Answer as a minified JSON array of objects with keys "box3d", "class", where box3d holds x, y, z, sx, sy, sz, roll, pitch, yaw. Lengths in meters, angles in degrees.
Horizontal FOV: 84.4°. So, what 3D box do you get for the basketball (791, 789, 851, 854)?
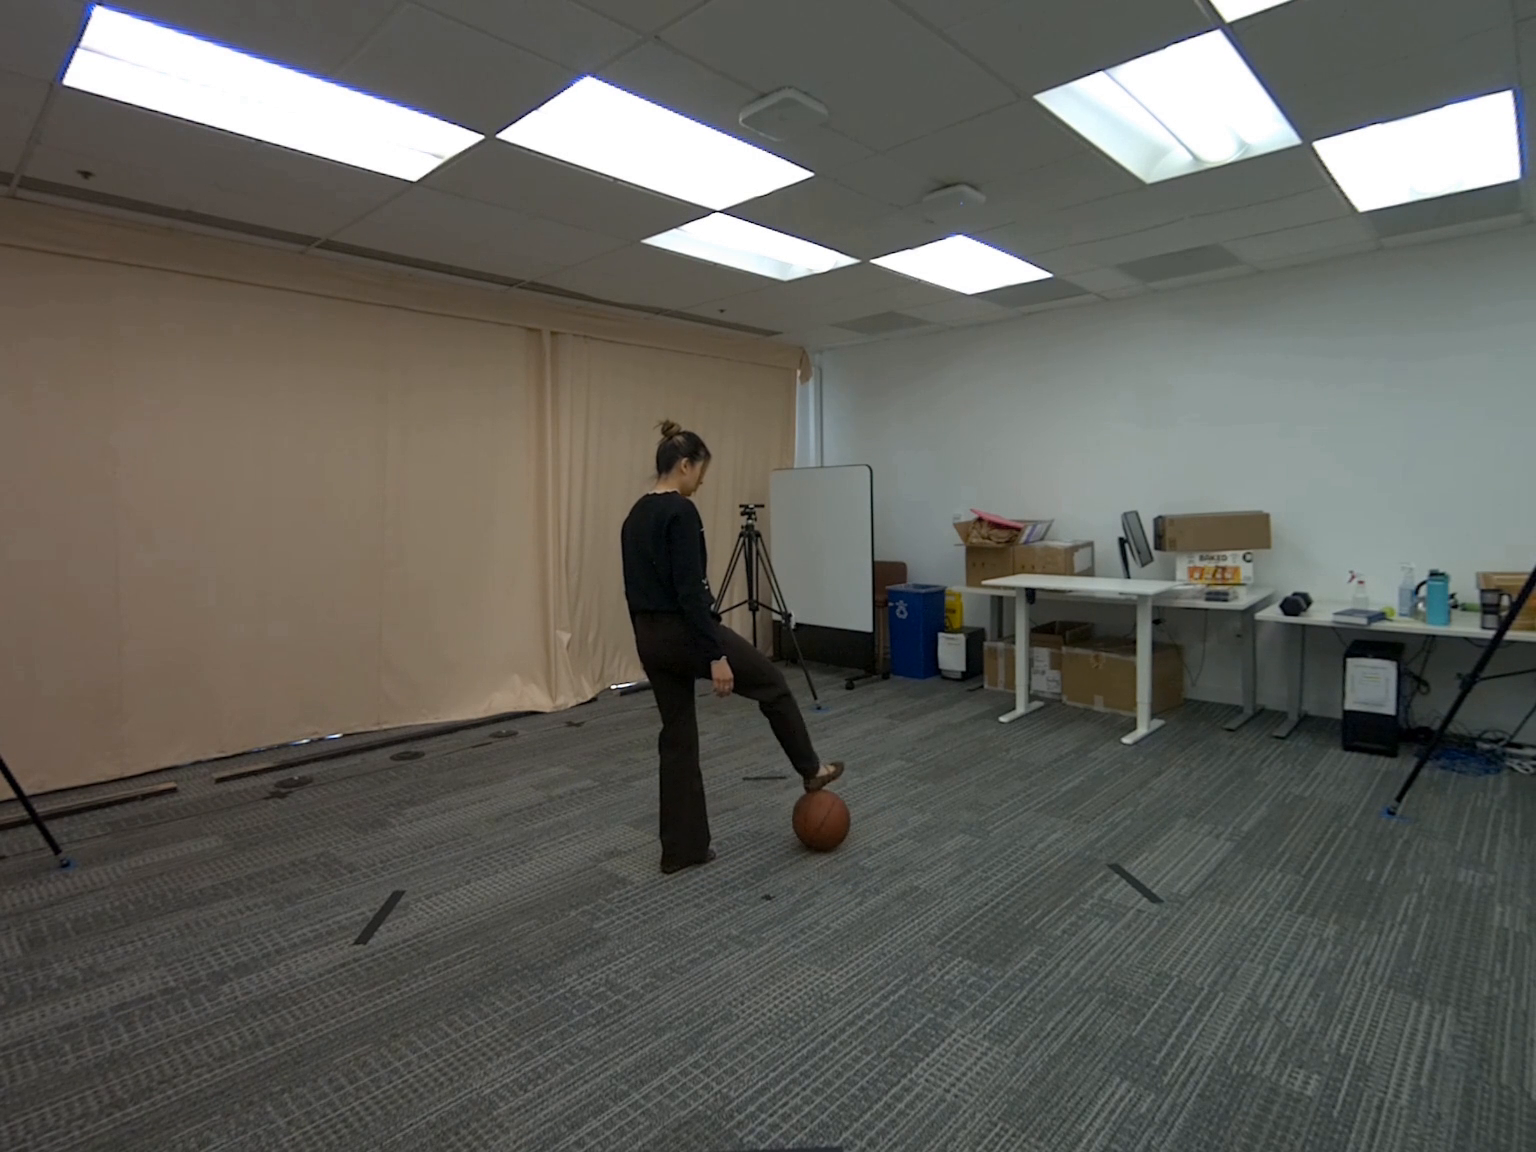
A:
[{"box3d":[0.213,0.982,3.386,0.236,0.235,0.237,-1,4,-2],"class":"basketball"}]
